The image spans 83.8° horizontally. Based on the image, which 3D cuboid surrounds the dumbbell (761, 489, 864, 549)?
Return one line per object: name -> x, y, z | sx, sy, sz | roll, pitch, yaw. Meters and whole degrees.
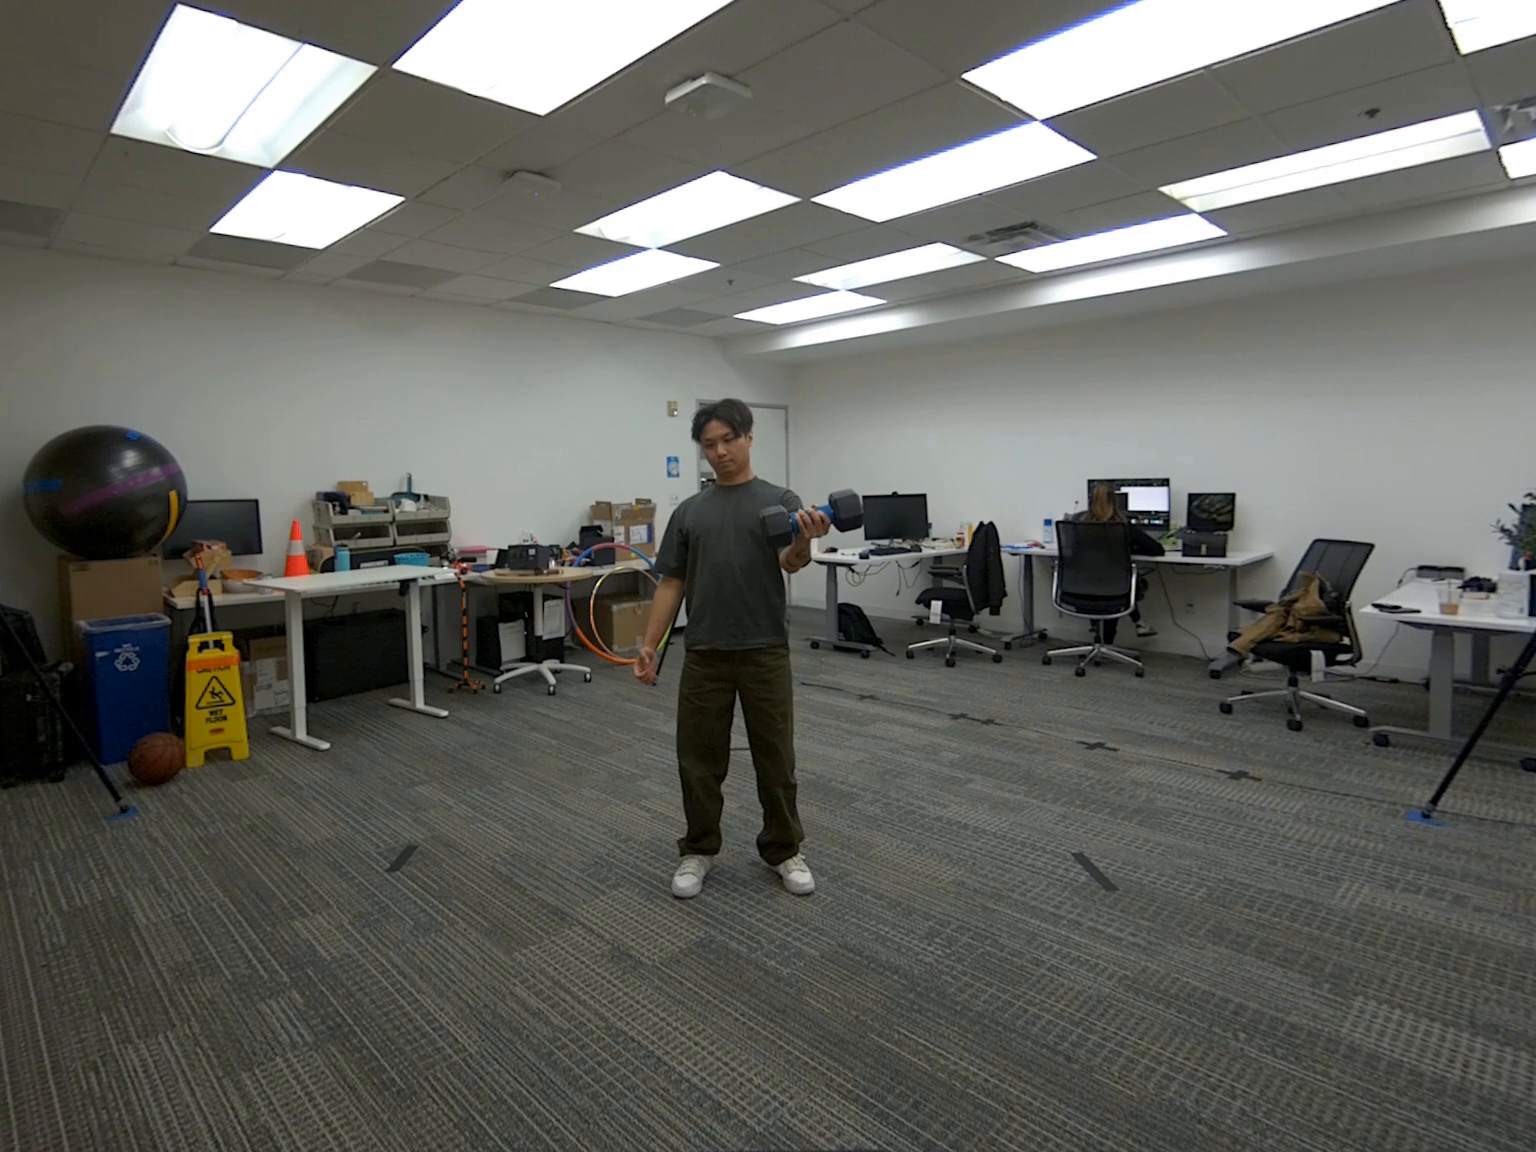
dumbbell -> 0.130, -0.169, 2.479 | 0.292, 0.124, 0.108 | -13, -8, -5
